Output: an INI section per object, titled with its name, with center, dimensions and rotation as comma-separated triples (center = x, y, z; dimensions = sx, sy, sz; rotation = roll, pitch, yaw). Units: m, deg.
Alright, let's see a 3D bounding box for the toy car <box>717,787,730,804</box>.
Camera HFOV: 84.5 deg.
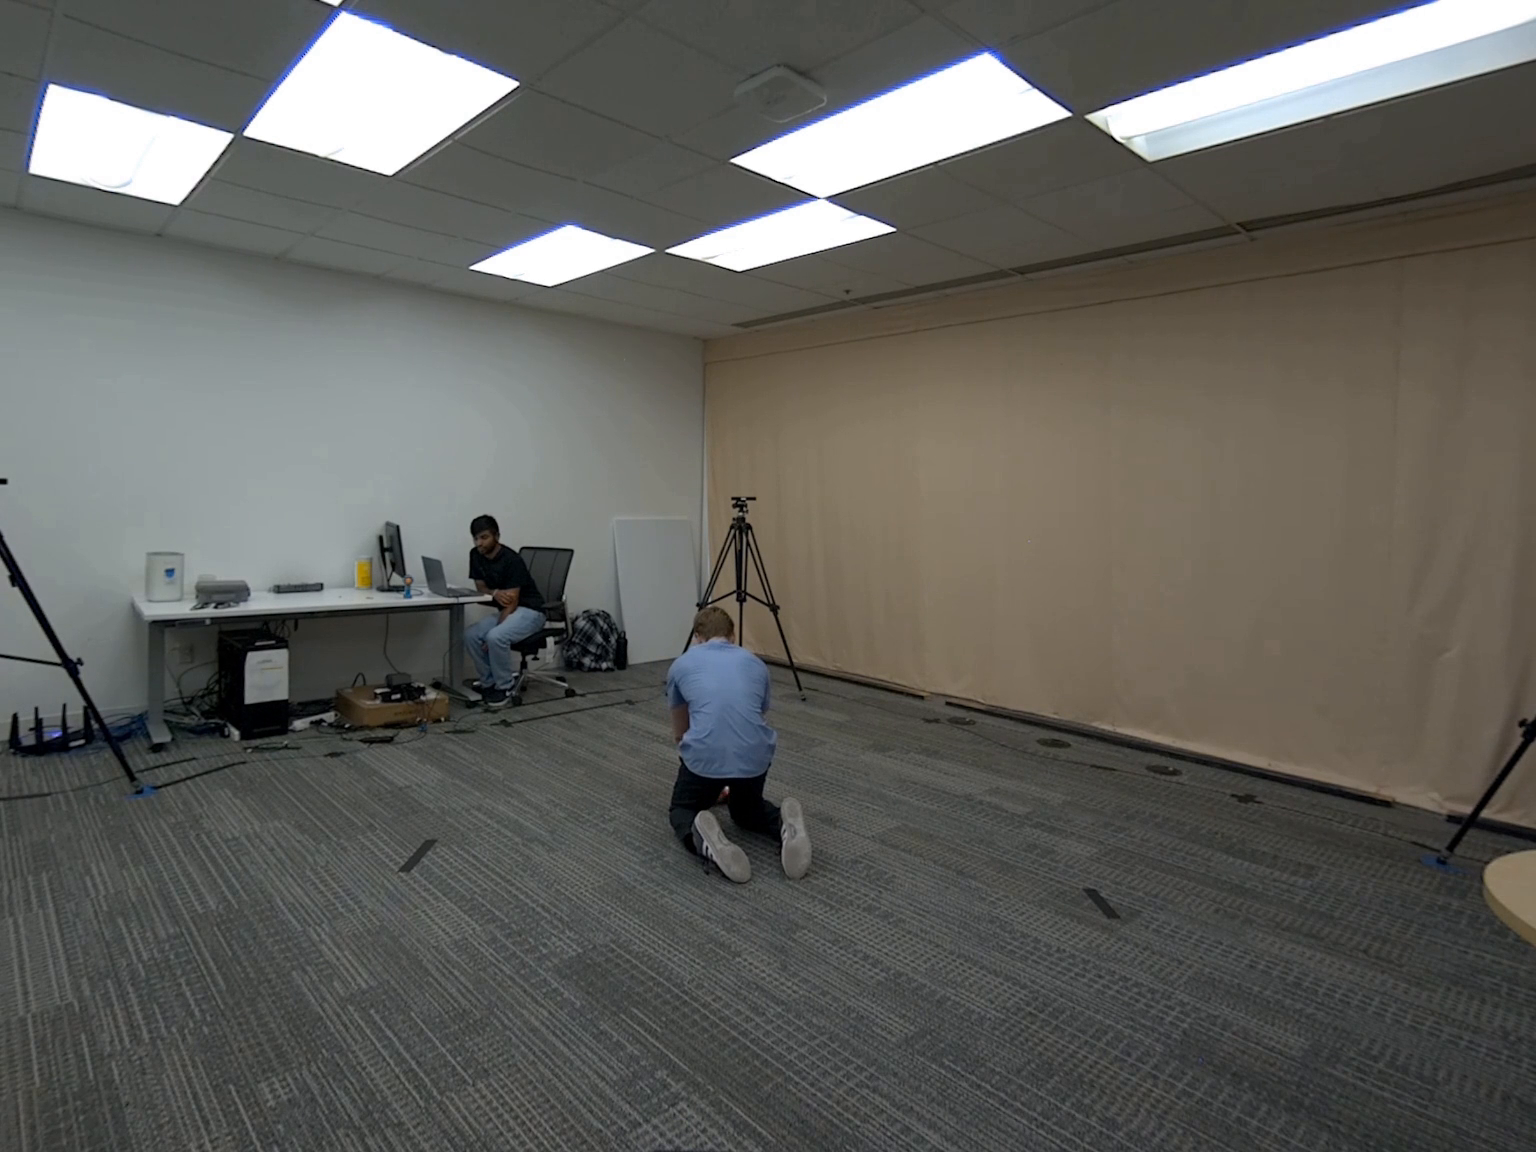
[toy car]
center = -0.248, 1.011, 3.883
dimensions = 0.252, 0.083, 0.132
rotation = -9, 7, -16
